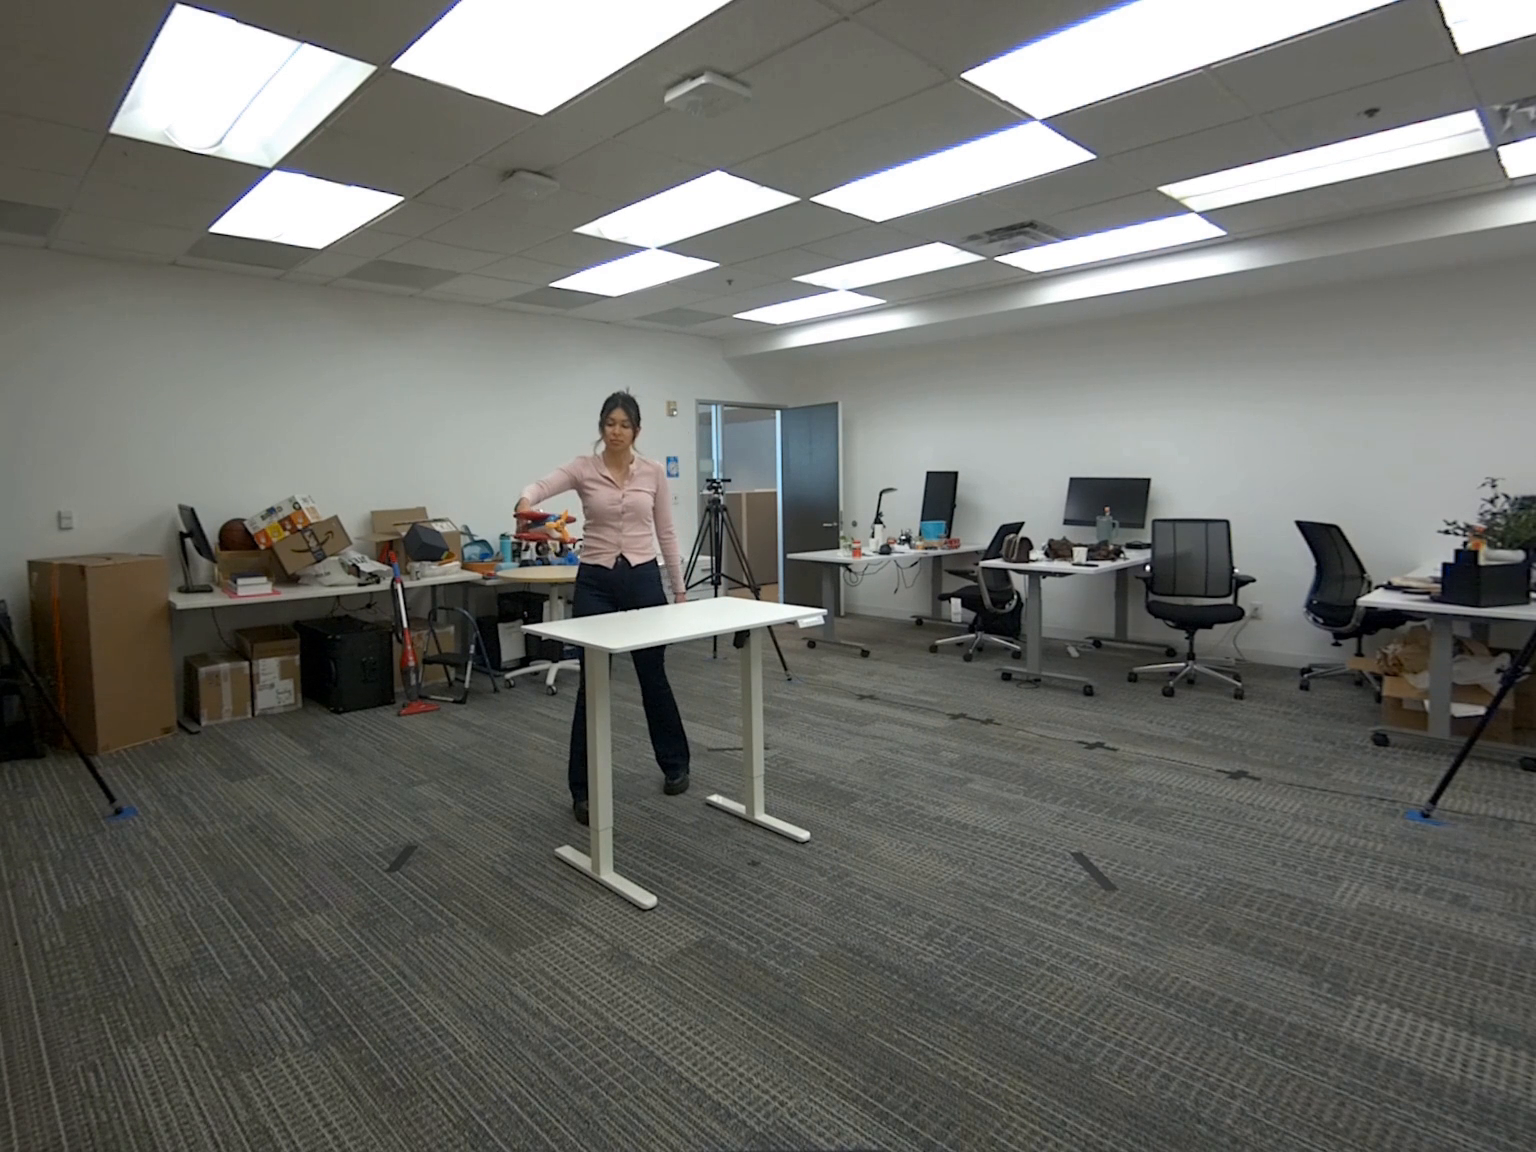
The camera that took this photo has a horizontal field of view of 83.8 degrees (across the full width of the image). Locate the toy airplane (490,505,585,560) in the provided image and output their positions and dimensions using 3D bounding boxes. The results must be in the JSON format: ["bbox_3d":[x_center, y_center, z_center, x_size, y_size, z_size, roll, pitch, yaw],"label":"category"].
[{"bbox_3d":[-0.812,-0.156,3.079,0.263,0.156,0.247,7,1,13],"label":"toy airplane"}]
